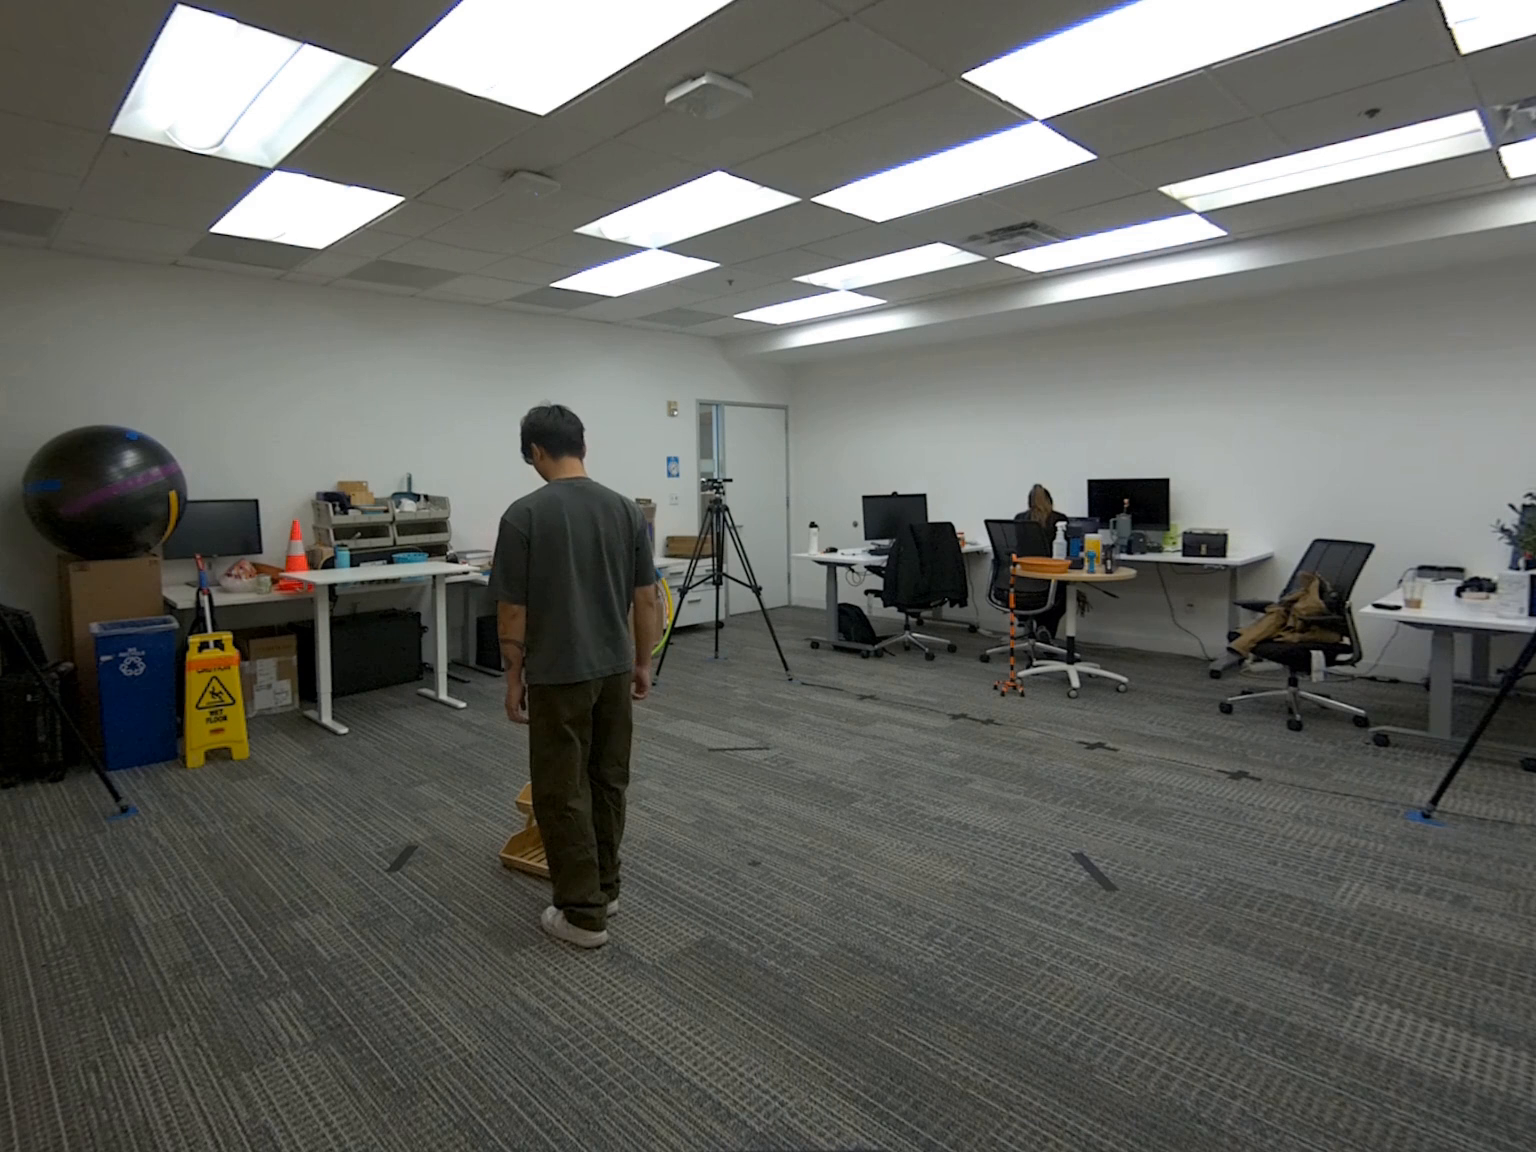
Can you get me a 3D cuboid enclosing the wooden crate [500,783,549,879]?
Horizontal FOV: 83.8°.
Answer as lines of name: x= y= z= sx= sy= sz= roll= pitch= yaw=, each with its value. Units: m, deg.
wooden crate: x=-0.780 y=0.921 z=3.158 sx=0.333 sy=0.272 sz=0.295 roll=2 pitch=6 yaw=31
